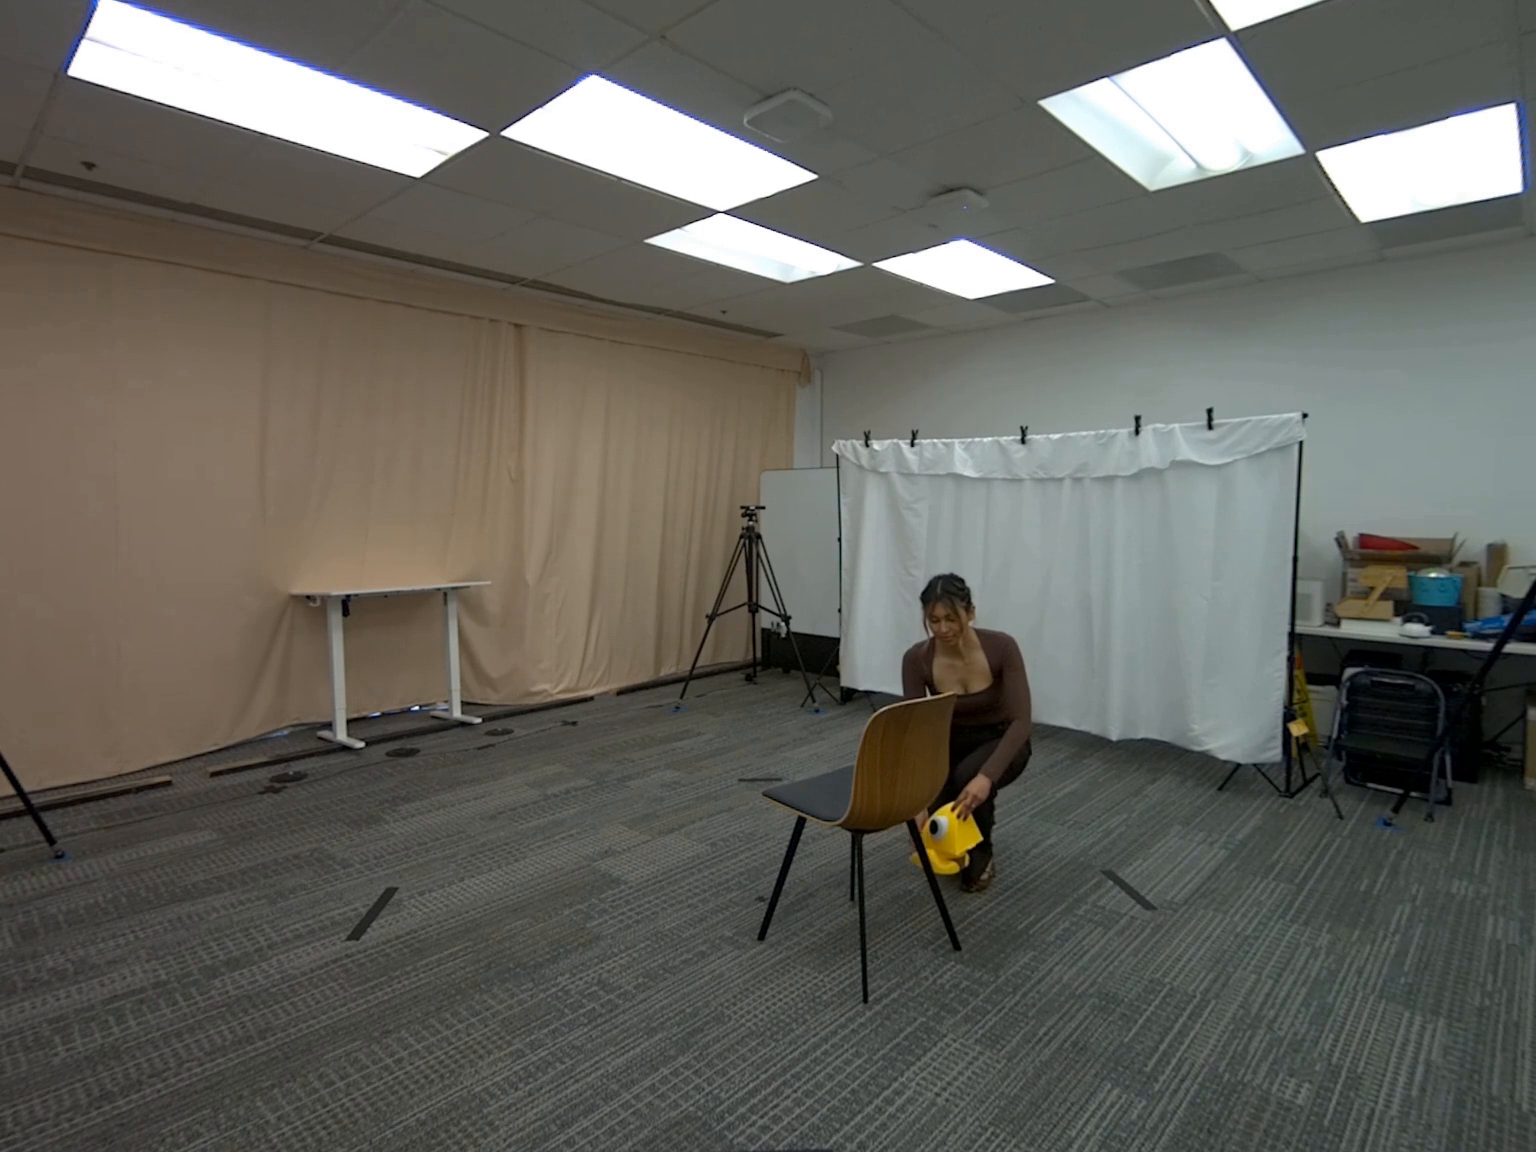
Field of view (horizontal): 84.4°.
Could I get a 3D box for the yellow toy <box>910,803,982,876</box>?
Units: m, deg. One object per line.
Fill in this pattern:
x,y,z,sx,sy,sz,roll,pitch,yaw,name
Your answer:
0.607,0.843,2.812,0.199,0.230,0.198,5,3,41,yellow toy
